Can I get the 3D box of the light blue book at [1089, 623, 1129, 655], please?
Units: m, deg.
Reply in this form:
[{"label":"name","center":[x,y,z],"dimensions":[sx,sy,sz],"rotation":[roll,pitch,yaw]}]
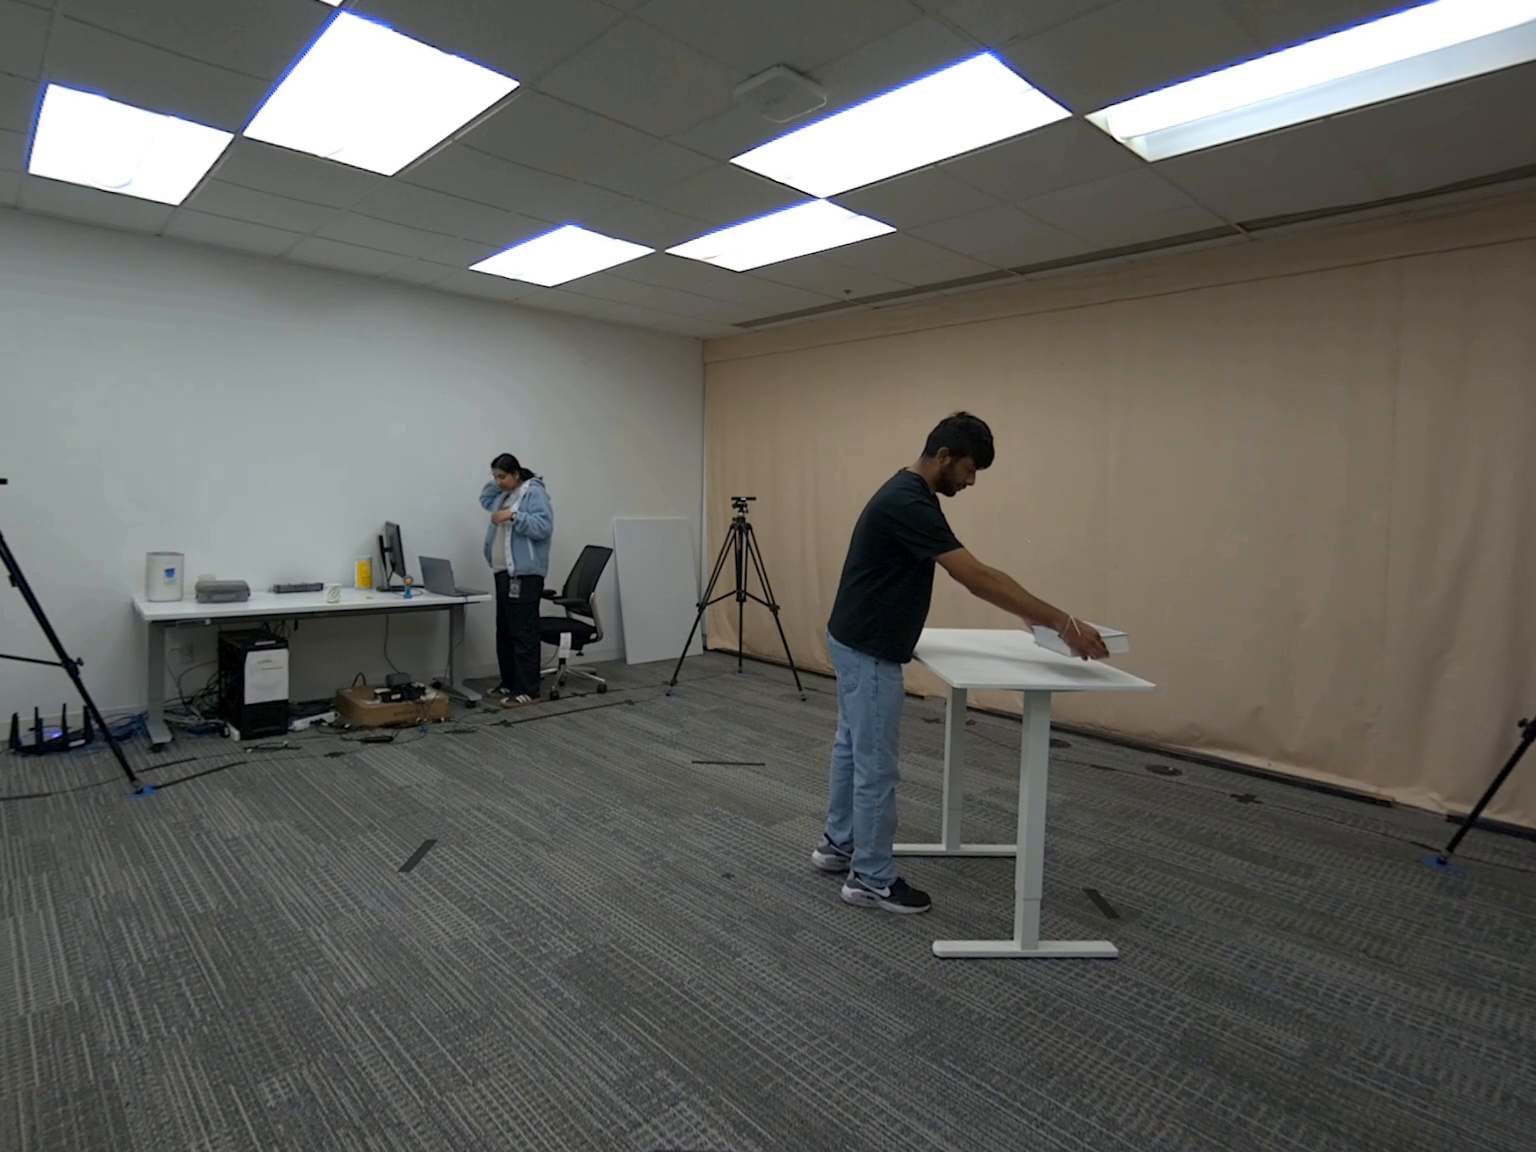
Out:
[{"label":"light blue book","center":[0.955,0.190,2.605],"dimensions":[0.191,0.059,0.262],"rotation":[-3,4,-3]}]
